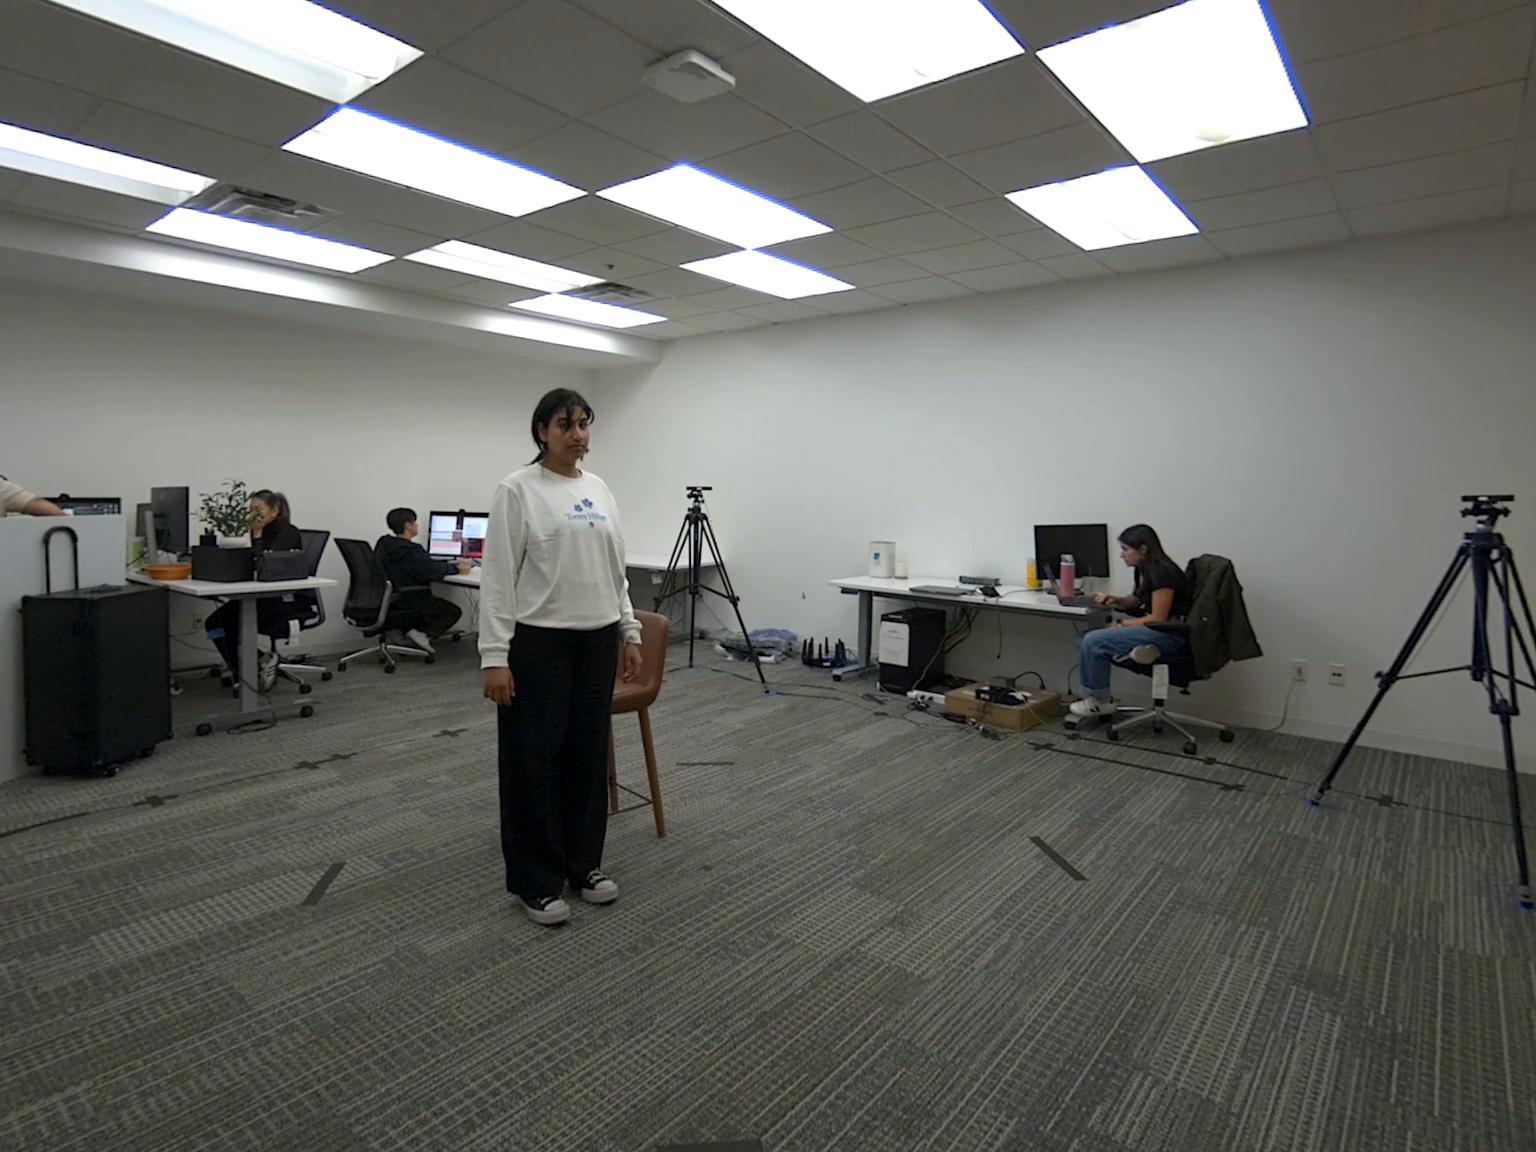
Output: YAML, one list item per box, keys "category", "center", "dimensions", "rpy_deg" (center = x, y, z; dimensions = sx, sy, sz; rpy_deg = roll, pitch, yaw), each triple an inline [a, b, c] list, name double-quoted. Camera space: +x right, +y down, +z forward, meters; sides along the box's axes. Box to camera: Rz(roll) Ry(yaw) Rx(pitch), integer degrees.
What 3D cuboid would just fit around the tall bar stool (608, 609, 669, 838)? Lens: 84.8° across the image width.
- category: "tall bar stool"
  center: [-0.683, 0.596, 3.378]
  dimensions: [0.453, 0.888, 0.472]
  rpy_deg: [1, 2, -41]
